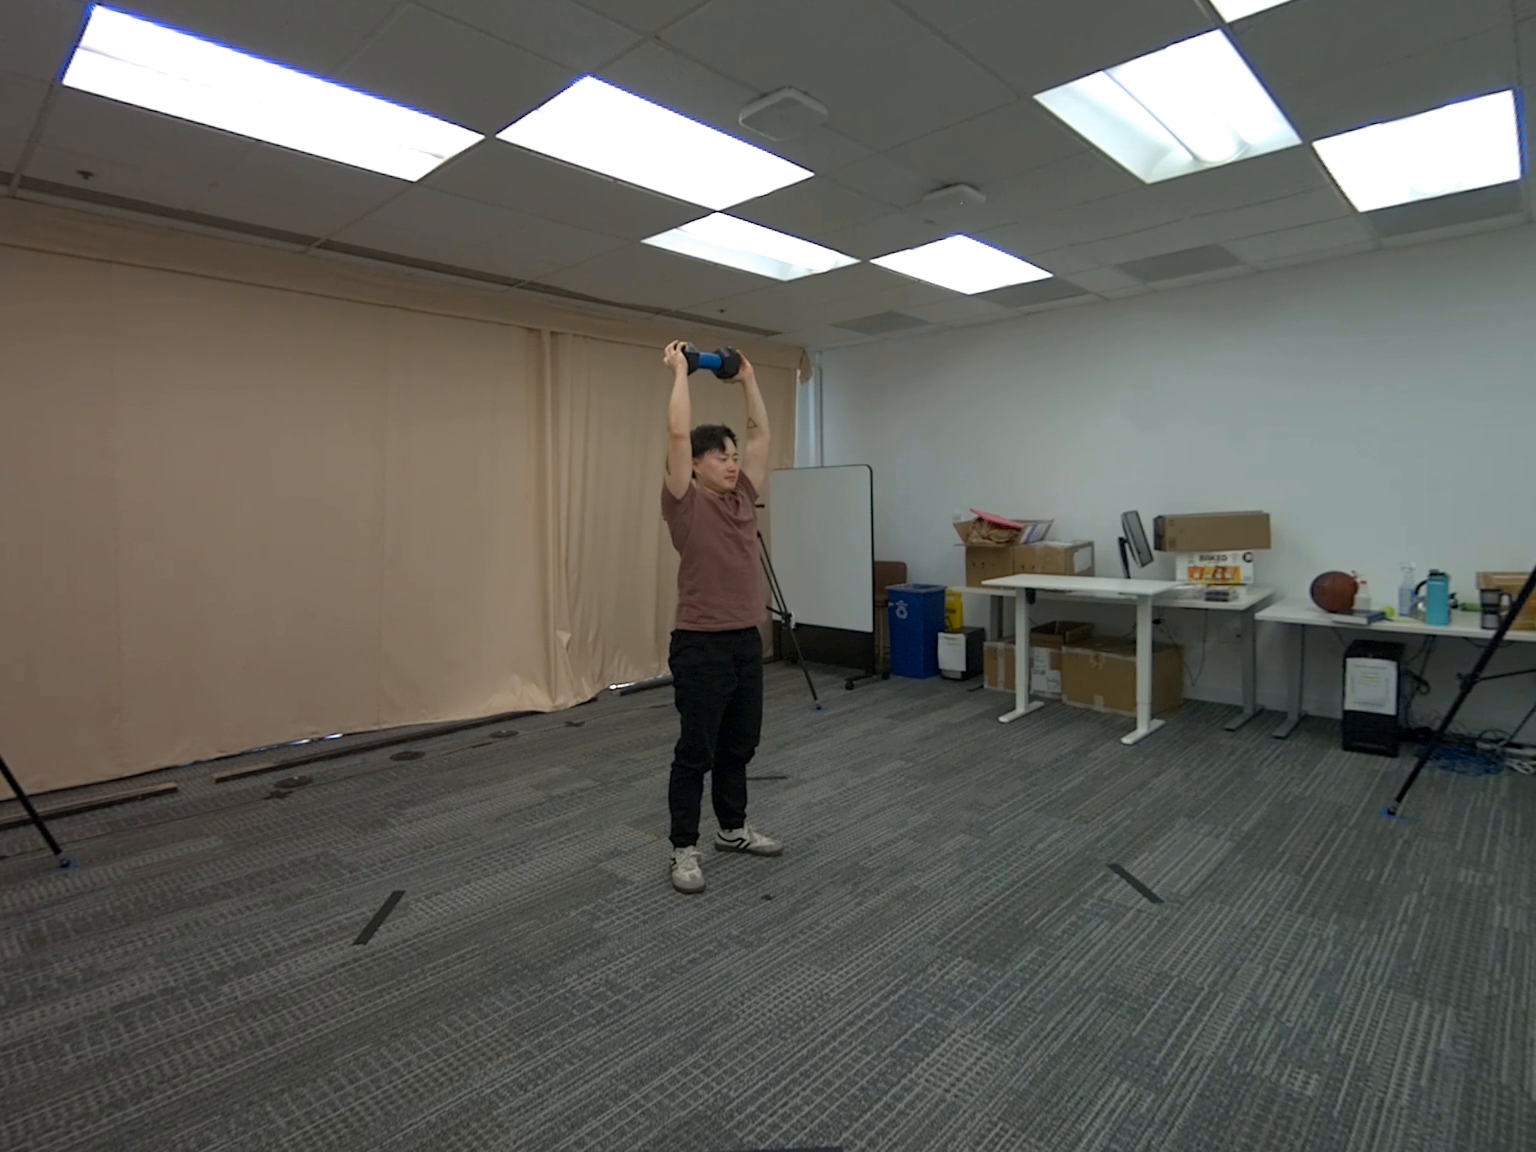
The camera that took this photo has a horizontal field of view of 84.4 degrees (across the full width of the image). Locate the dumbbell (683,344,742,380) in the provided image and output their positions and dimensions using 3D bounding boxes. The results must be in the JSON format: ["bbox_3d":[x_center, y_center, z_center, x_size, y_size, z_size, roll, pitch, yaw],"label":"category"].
[{"bbox_3d":[-0.237,-0.819,3.204,0.285,0.109,0.126,-7,50,-42],"label":"dumbbell"}]
